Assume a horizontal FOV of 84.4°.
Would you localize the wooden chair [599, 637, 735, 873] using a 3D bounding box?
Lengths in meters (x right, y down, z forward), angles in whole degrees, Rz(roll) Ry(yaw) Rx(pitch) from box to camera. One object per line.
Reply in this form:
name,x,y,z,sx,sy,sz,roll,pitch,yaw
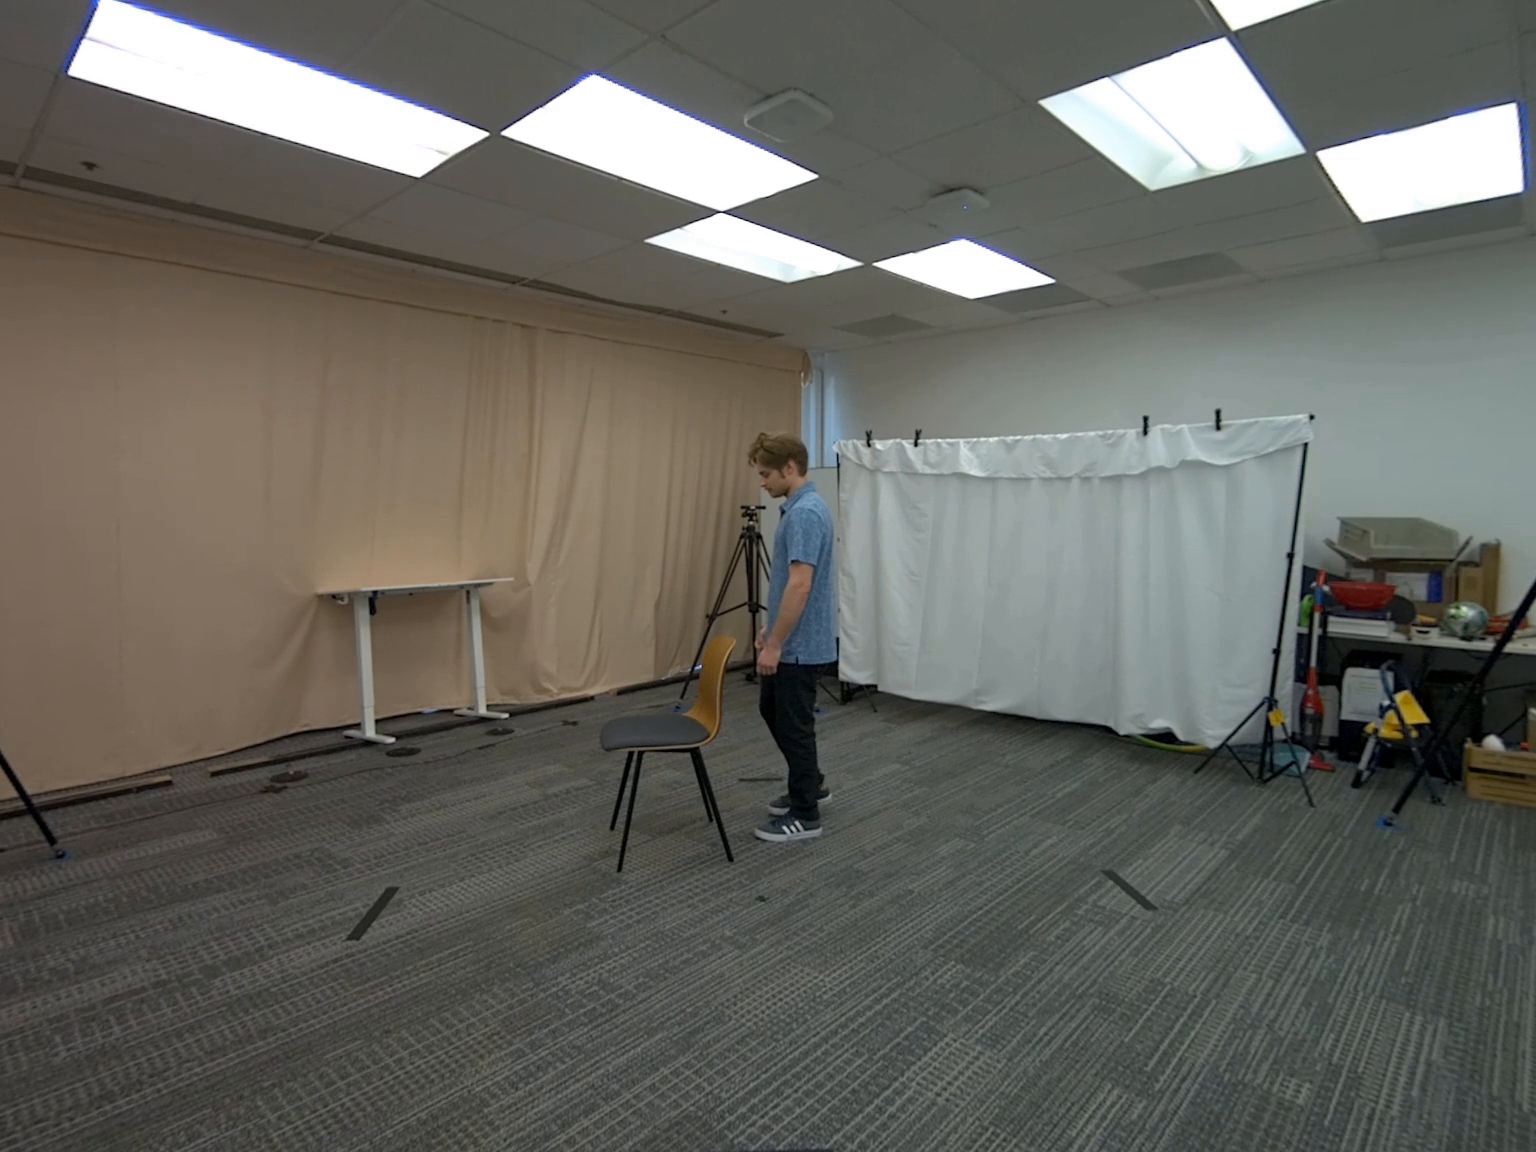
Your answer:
wooden chair,-0.420,0.679,3.427,0.516,0.876,0.486,3,3,-14
